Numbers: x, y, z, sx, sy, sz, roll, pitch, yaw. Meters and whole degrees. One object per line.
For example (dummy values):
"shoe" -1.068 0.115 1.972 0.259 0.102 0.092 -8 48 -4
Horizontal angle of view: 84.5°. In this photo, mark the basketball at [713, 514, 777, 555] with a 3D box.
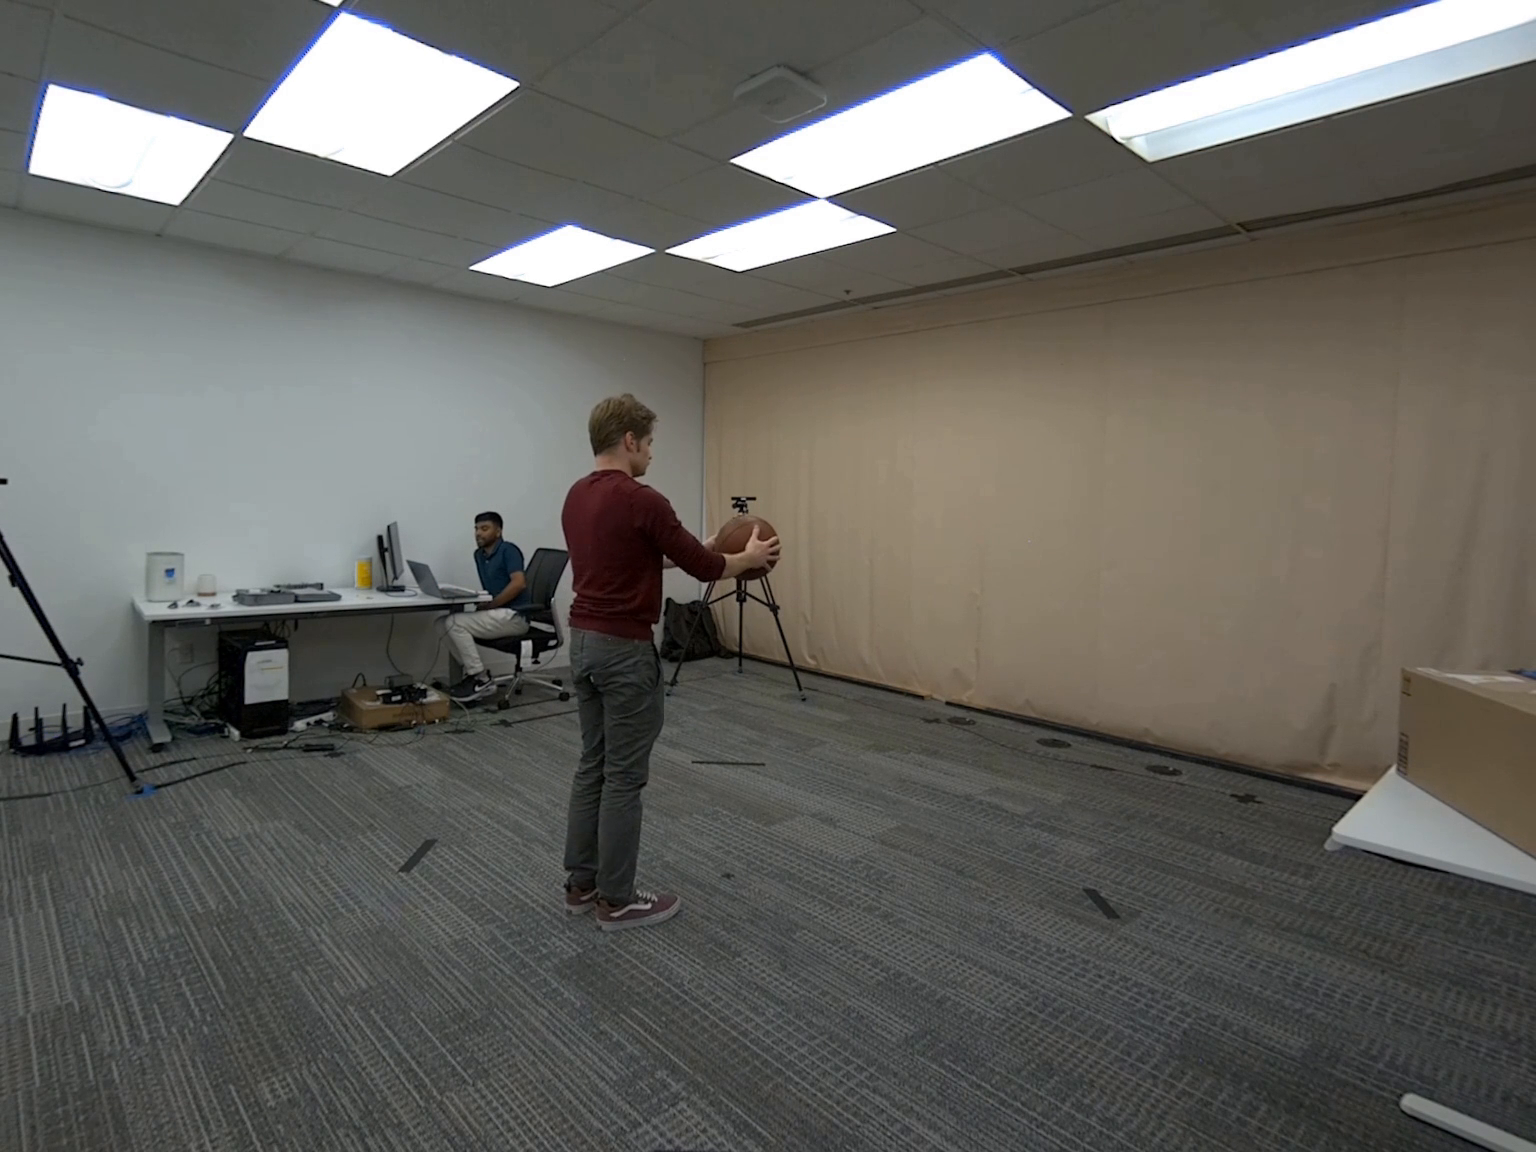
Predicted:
"basketball" -0.076 -0.106 3.077 0.236 0.235 0.237 1 4 -1
